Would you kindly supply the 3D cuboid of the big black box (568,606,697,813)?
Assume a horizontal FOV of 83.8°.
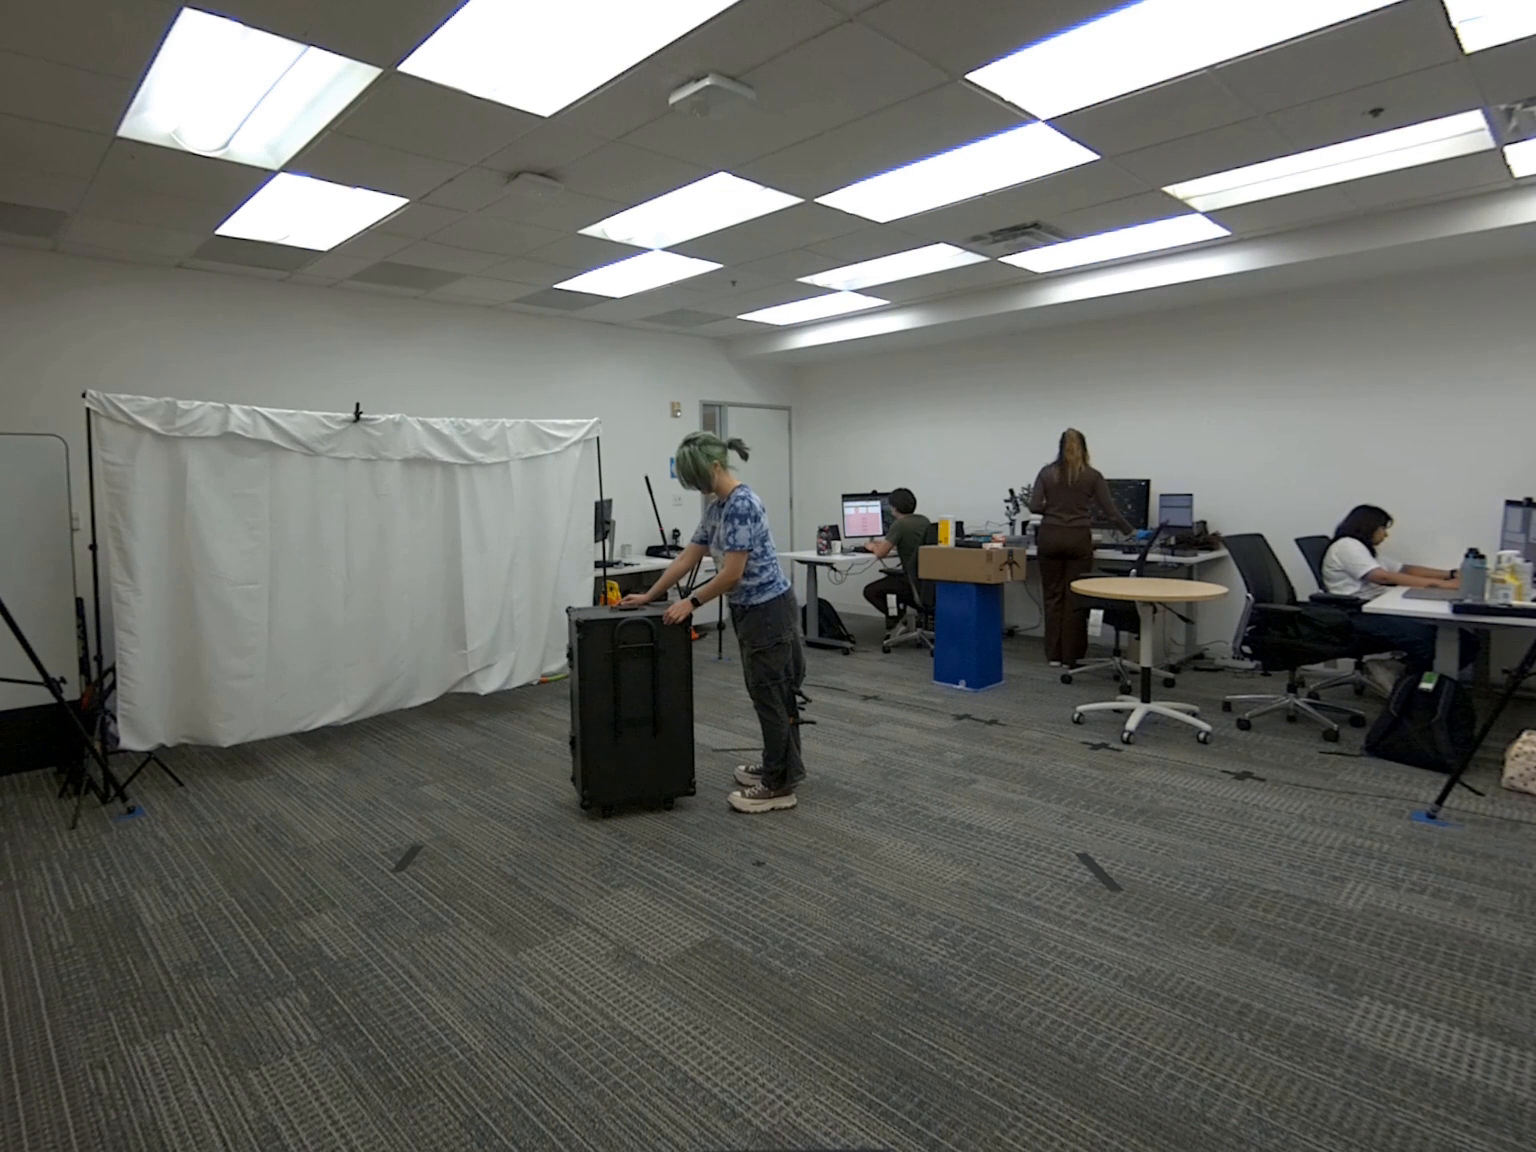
[{"bbox_3d":[-0.590,0.574,3.681,0.513,0.857,0.404,-2,5,-17],"label":"big black box"}]
